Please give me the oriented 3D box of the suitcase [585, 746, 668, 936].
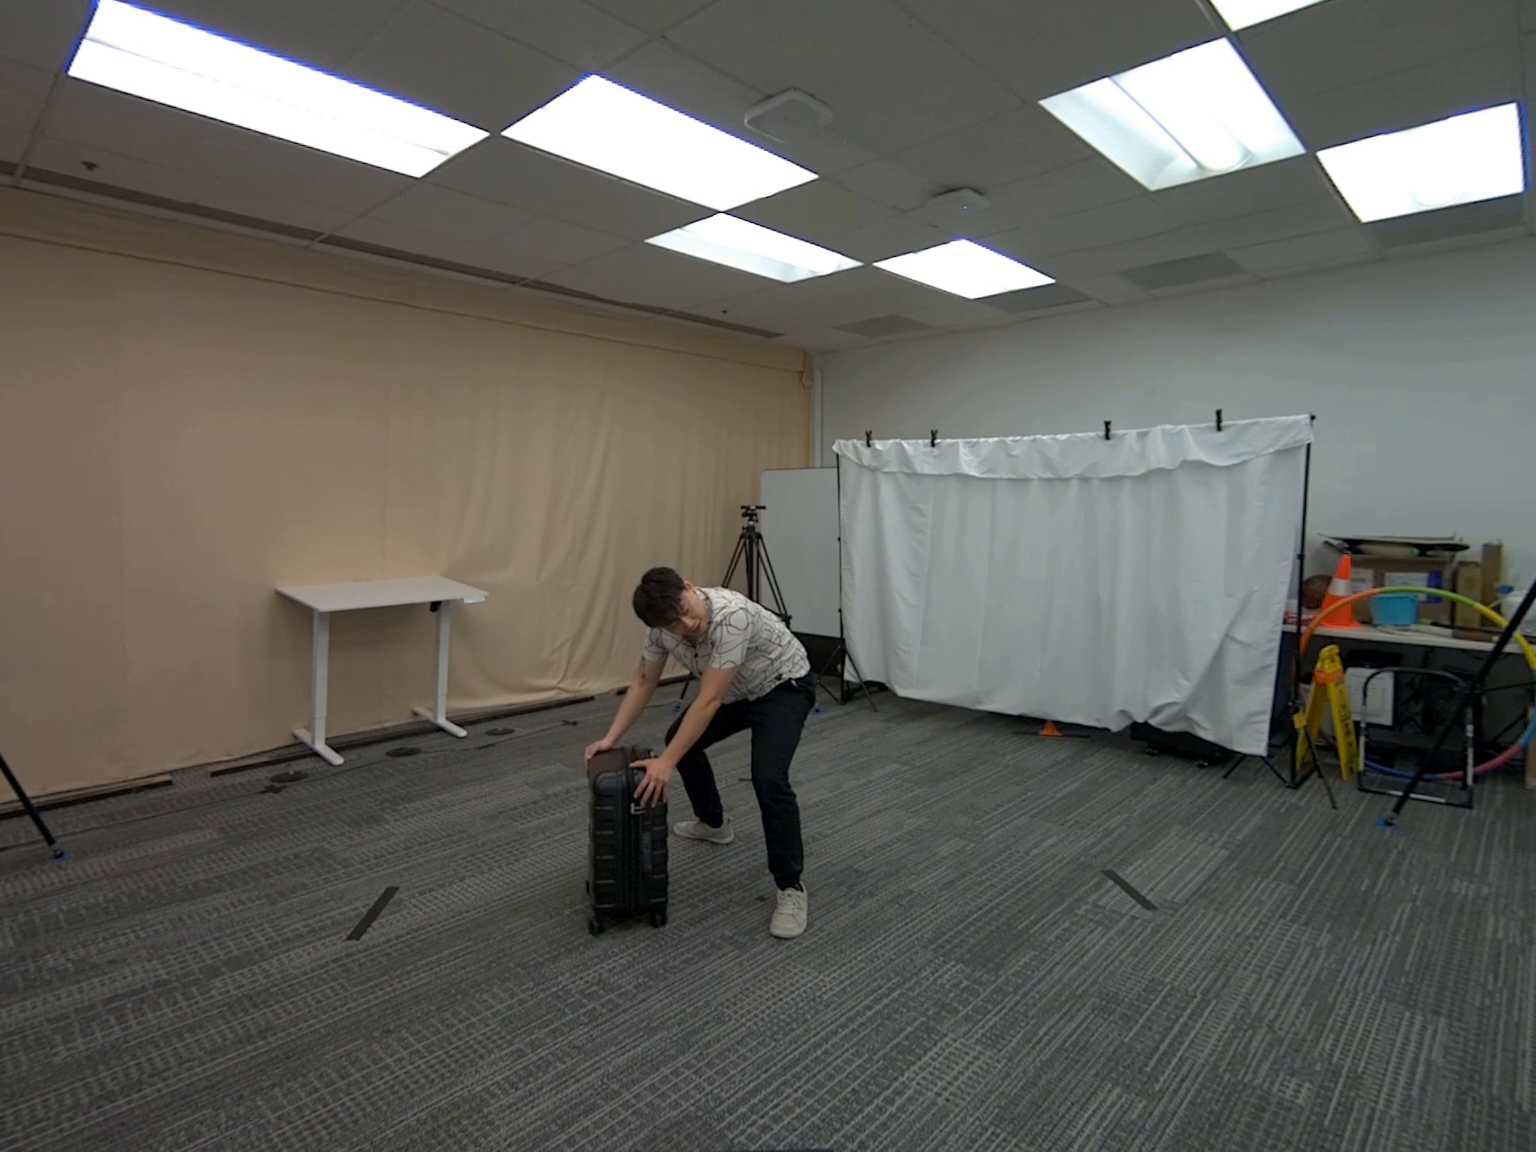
[{"bbox_3d":[-0.484,0.880,2.884,0.245,0.548,0.381,0,4,-13],"label":"suitcase"}]
